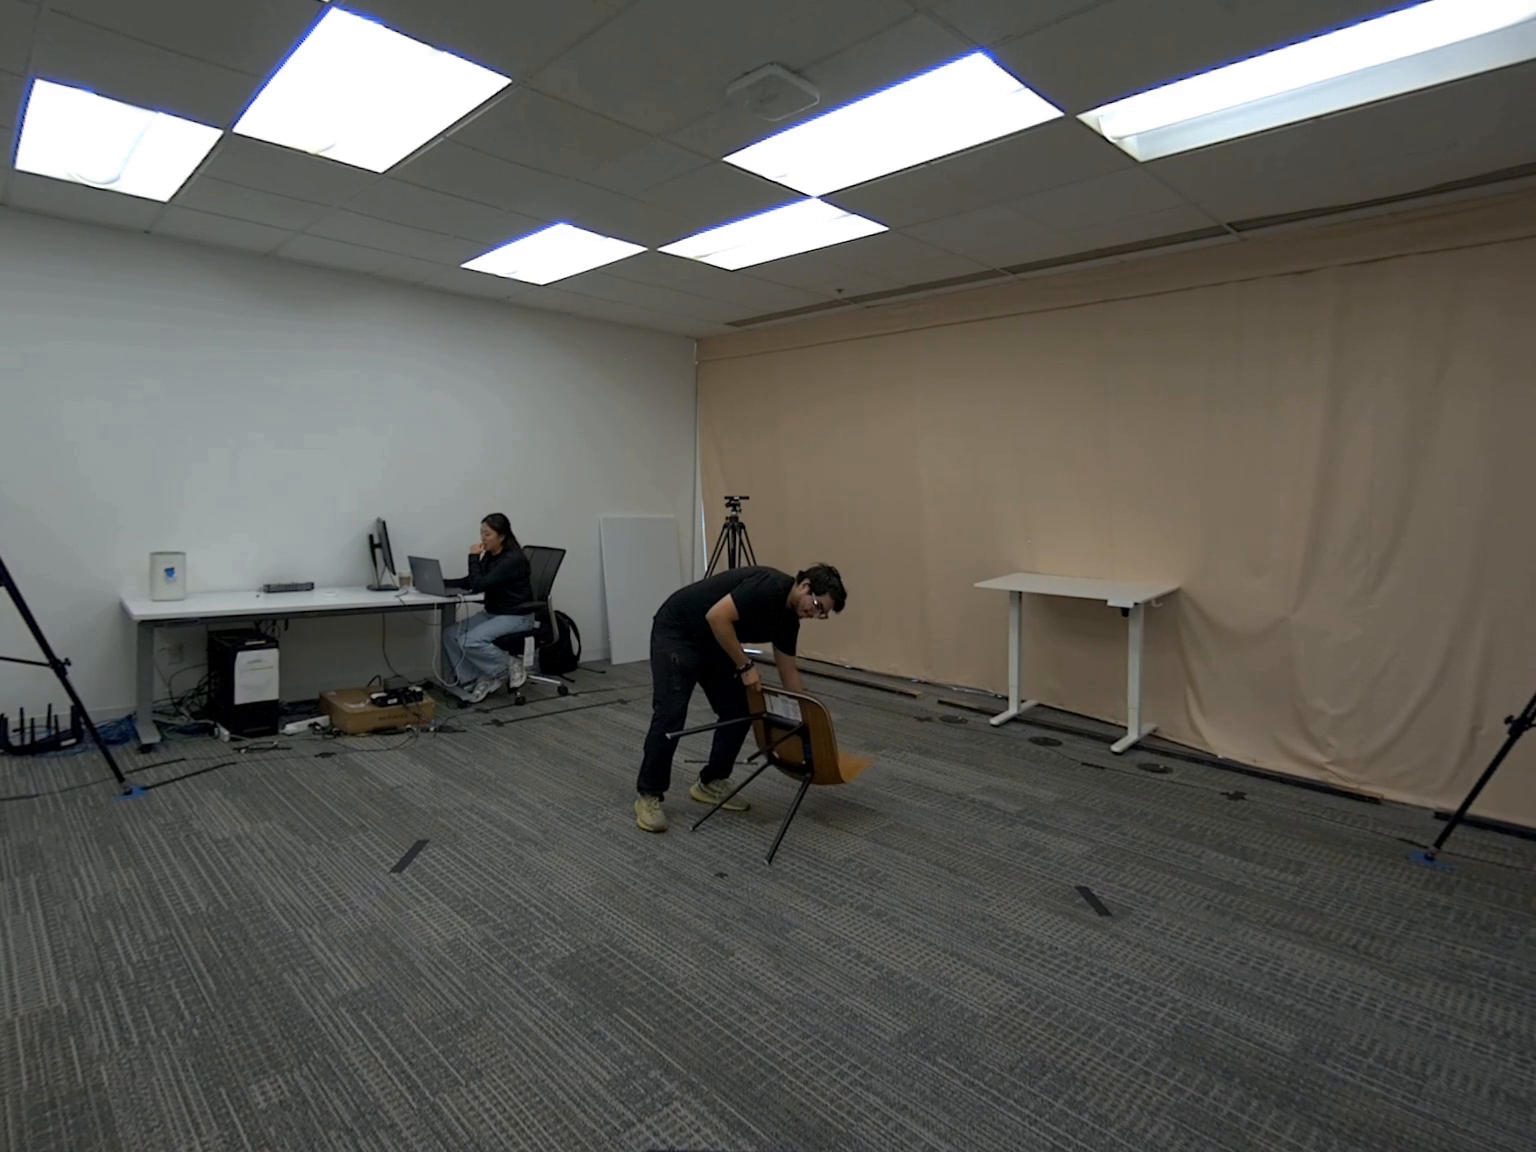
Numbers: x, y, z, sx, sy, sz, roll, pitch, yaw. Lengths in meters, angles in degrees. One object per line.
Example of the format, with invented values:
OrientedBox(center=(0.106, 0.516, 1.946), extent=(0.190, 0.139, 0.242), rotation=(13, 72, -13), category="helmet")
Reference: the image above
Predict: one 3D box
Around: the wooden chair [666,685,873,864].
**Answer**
OrientedBox(center=(0.075, 0.718, 3.564), extent=(0.490, 0.518, 0.864), rotation=(4, 18, 44), category="wooden chair")
